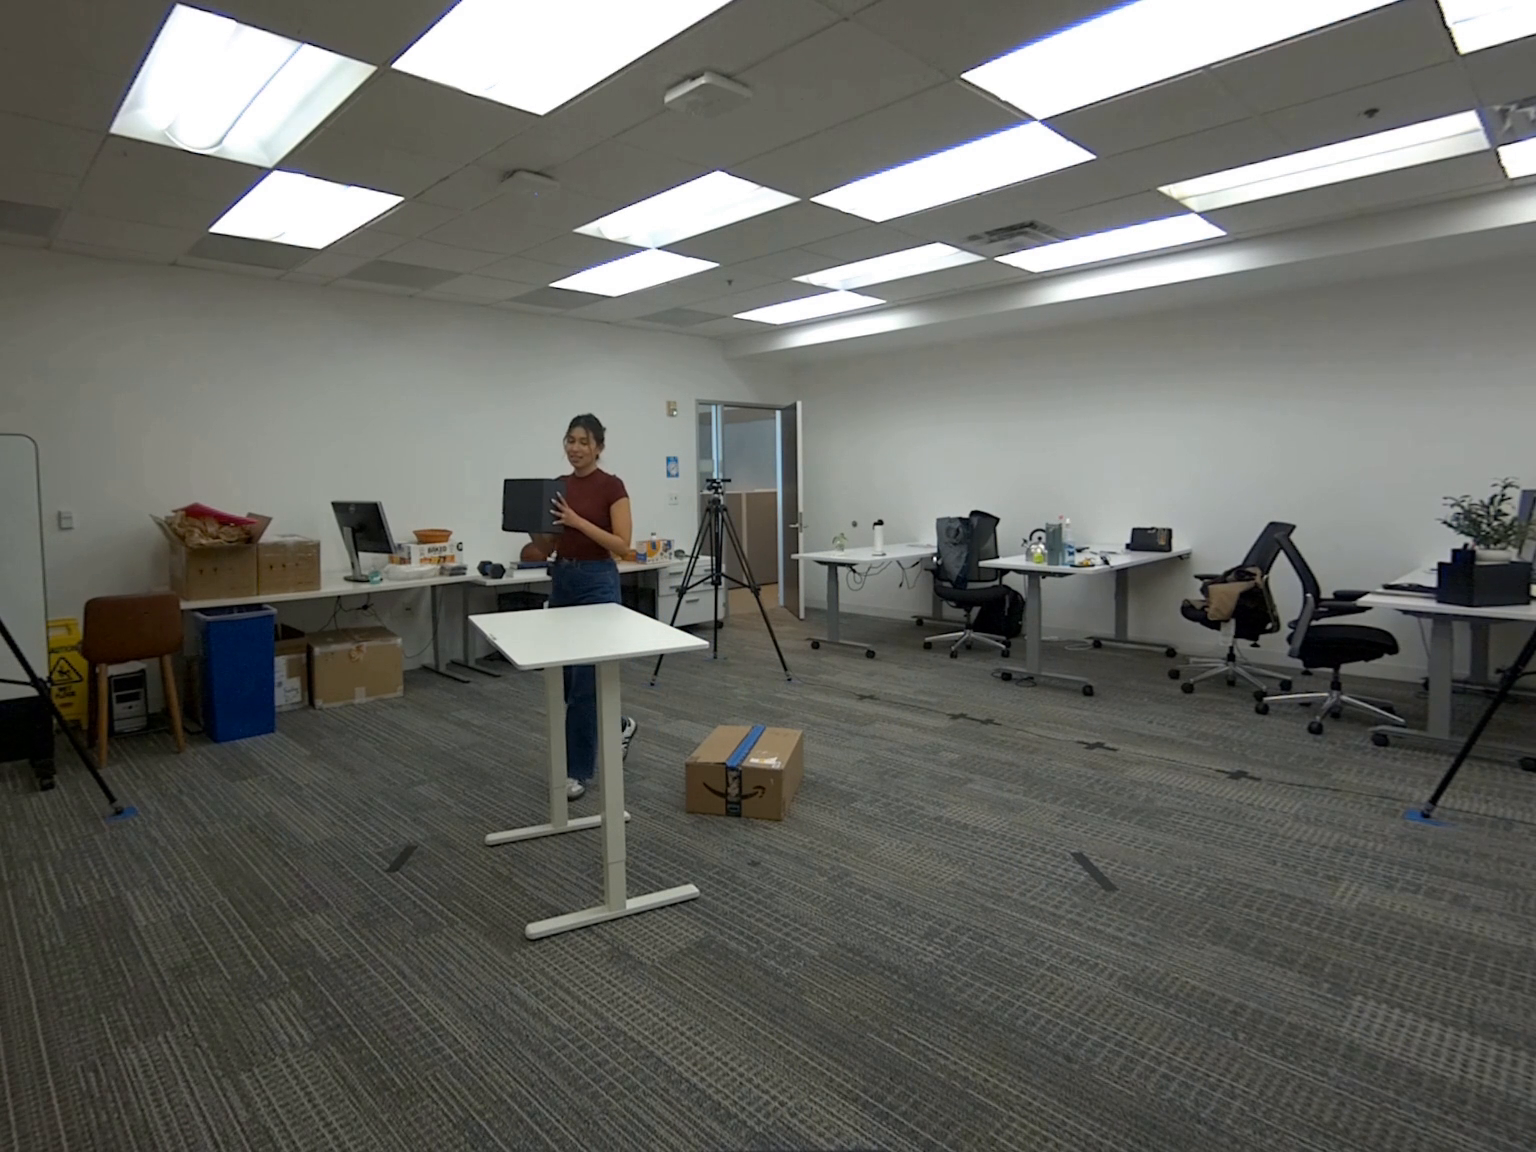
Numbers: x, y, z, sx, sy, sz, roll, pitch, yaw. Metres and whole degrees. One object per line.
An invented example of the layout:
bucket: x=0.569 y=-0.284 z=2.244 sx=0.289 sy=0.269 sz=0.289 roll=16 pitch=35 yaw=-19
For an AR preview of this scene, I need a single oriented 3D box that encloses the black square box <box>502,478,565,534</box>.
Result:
black square box: x=-1.000 y=-0.300 z=3.672 sx=0.222 sy=0.228 sz=0.152 roll=1 pitch=0 yaw=24
